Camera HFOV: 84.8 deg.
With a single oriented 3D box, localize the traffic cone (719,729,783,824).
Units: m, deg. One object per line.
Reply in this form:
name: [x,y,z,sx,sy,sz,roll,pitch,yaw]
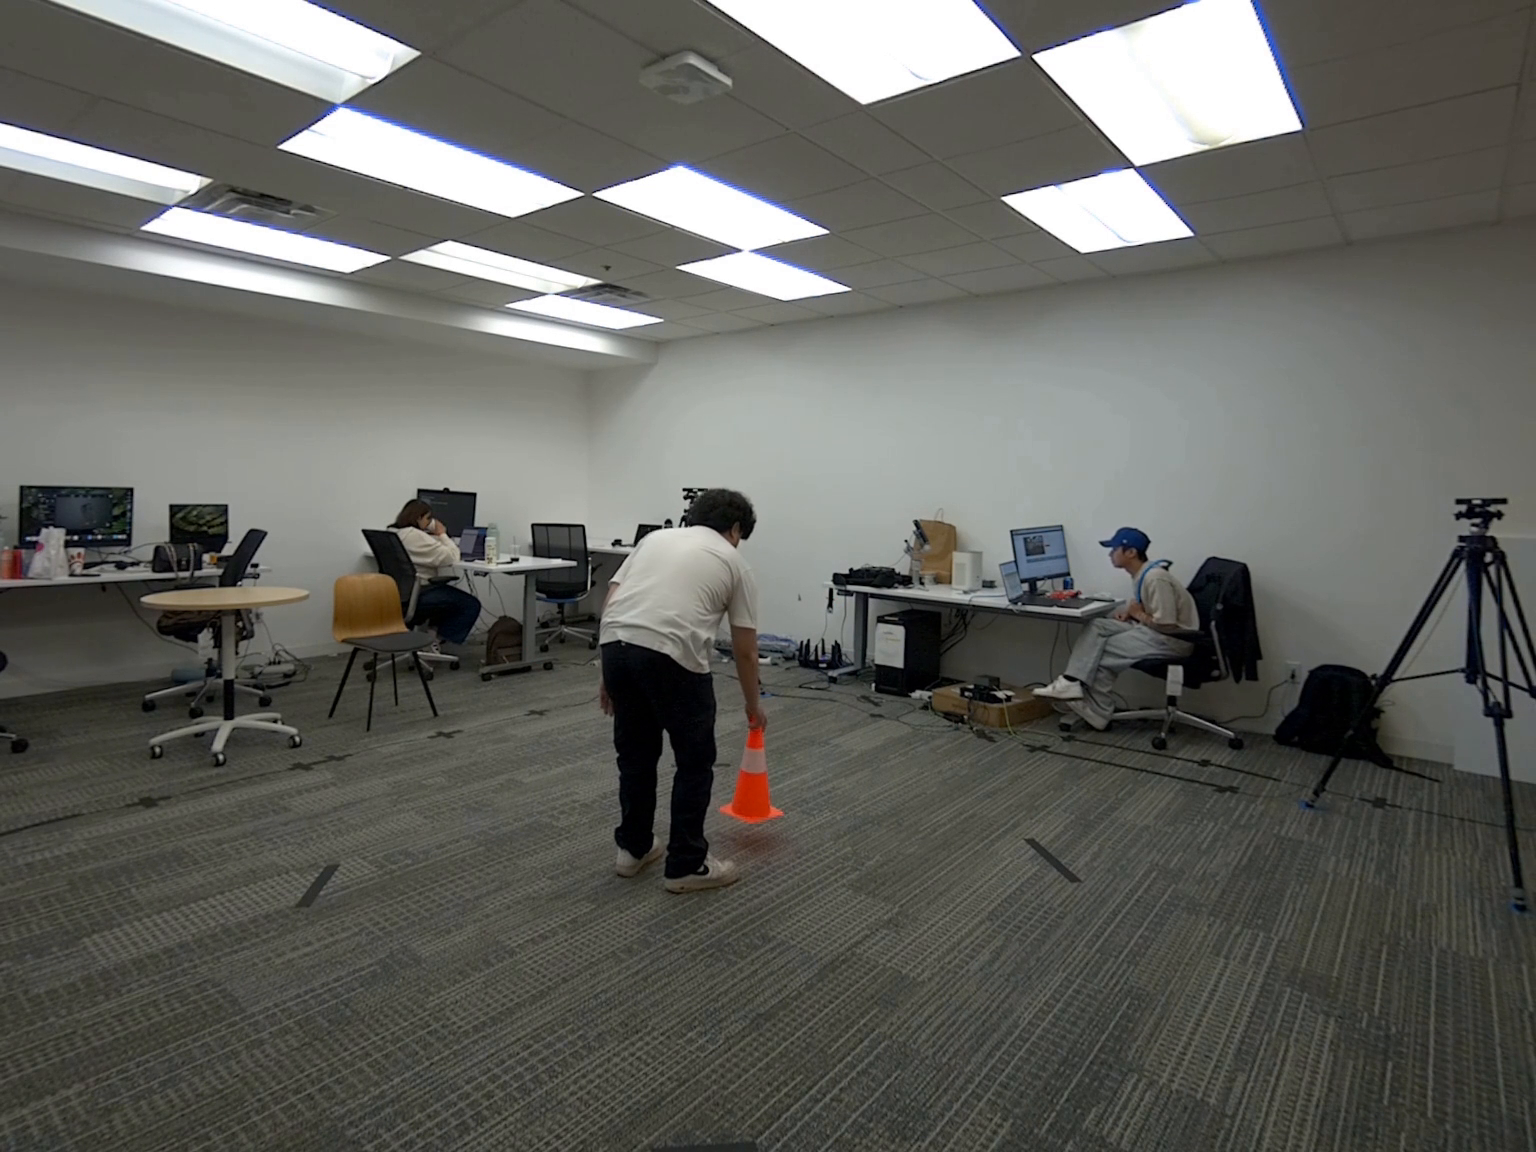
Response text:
traffic cone: [-0.063,0.737,3.356,0.197,0.382,0.212,-2,8,-45]
